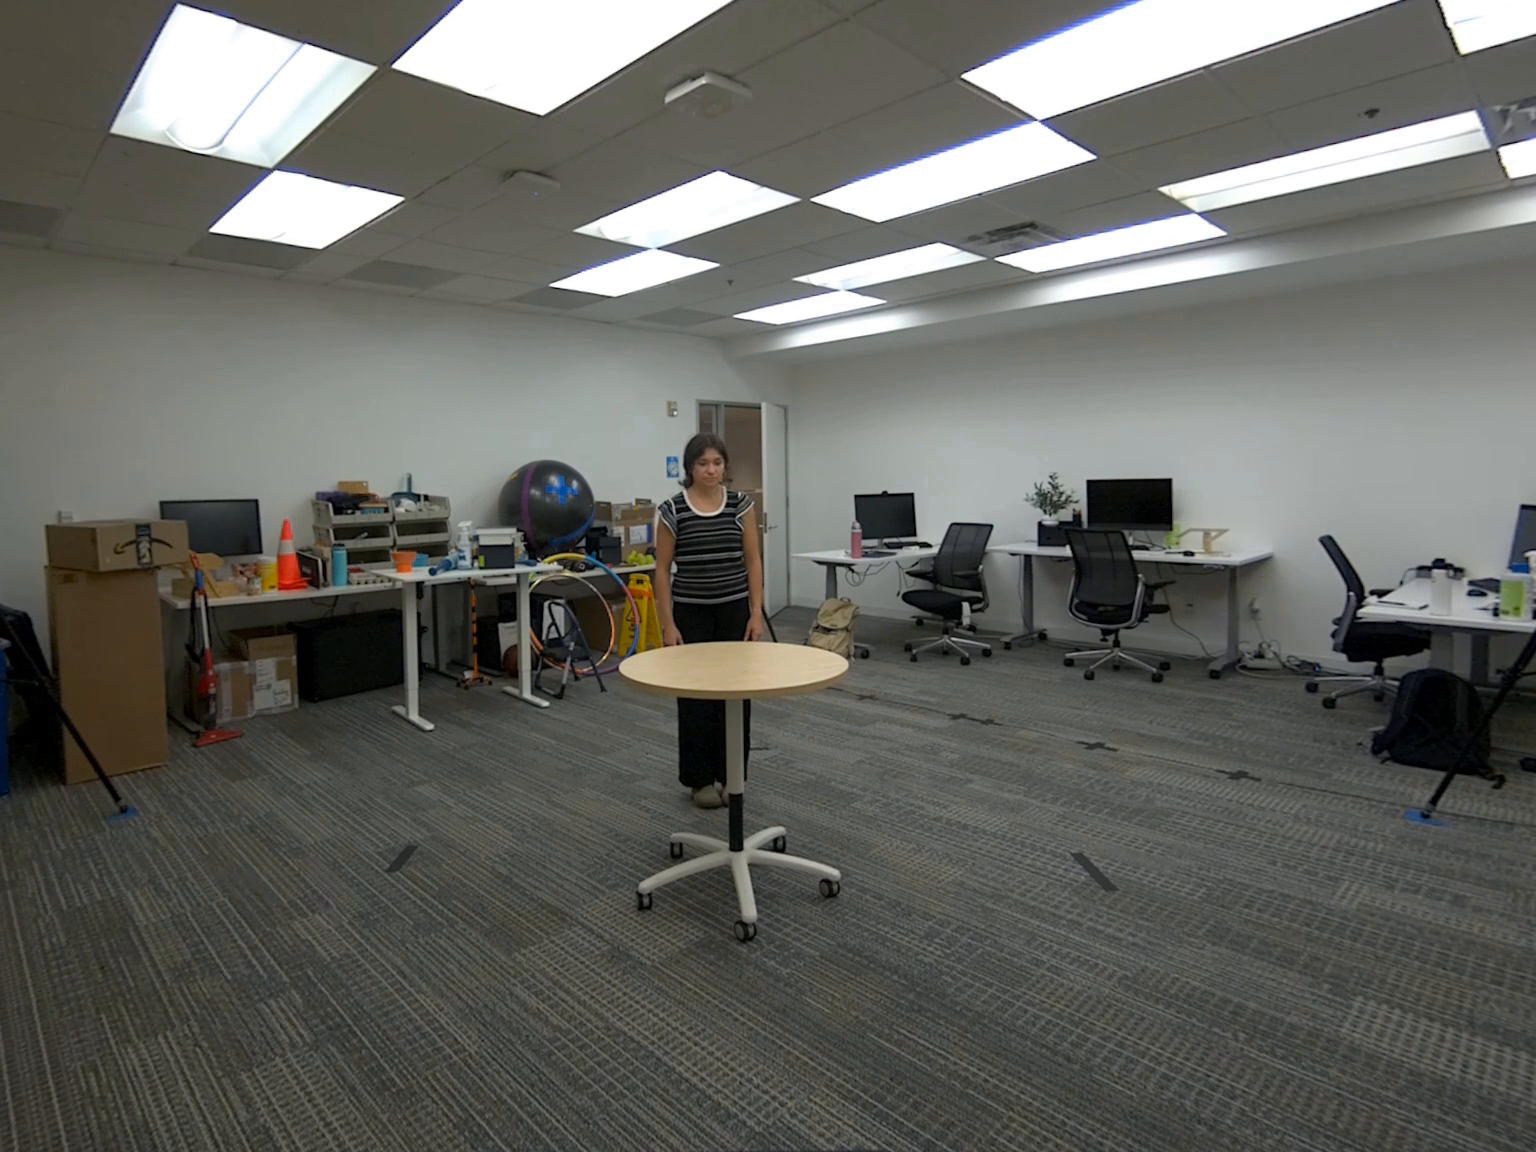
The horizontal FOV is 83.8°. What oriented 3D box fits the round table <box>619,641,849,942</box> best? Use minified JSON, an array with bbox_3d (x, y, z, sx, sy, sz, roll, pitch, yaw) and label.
[{"bbox_3d":[-0.109,0.687,2.889,0.763,0.791,0.768,-1,5,-2],"label":"round table"}]
